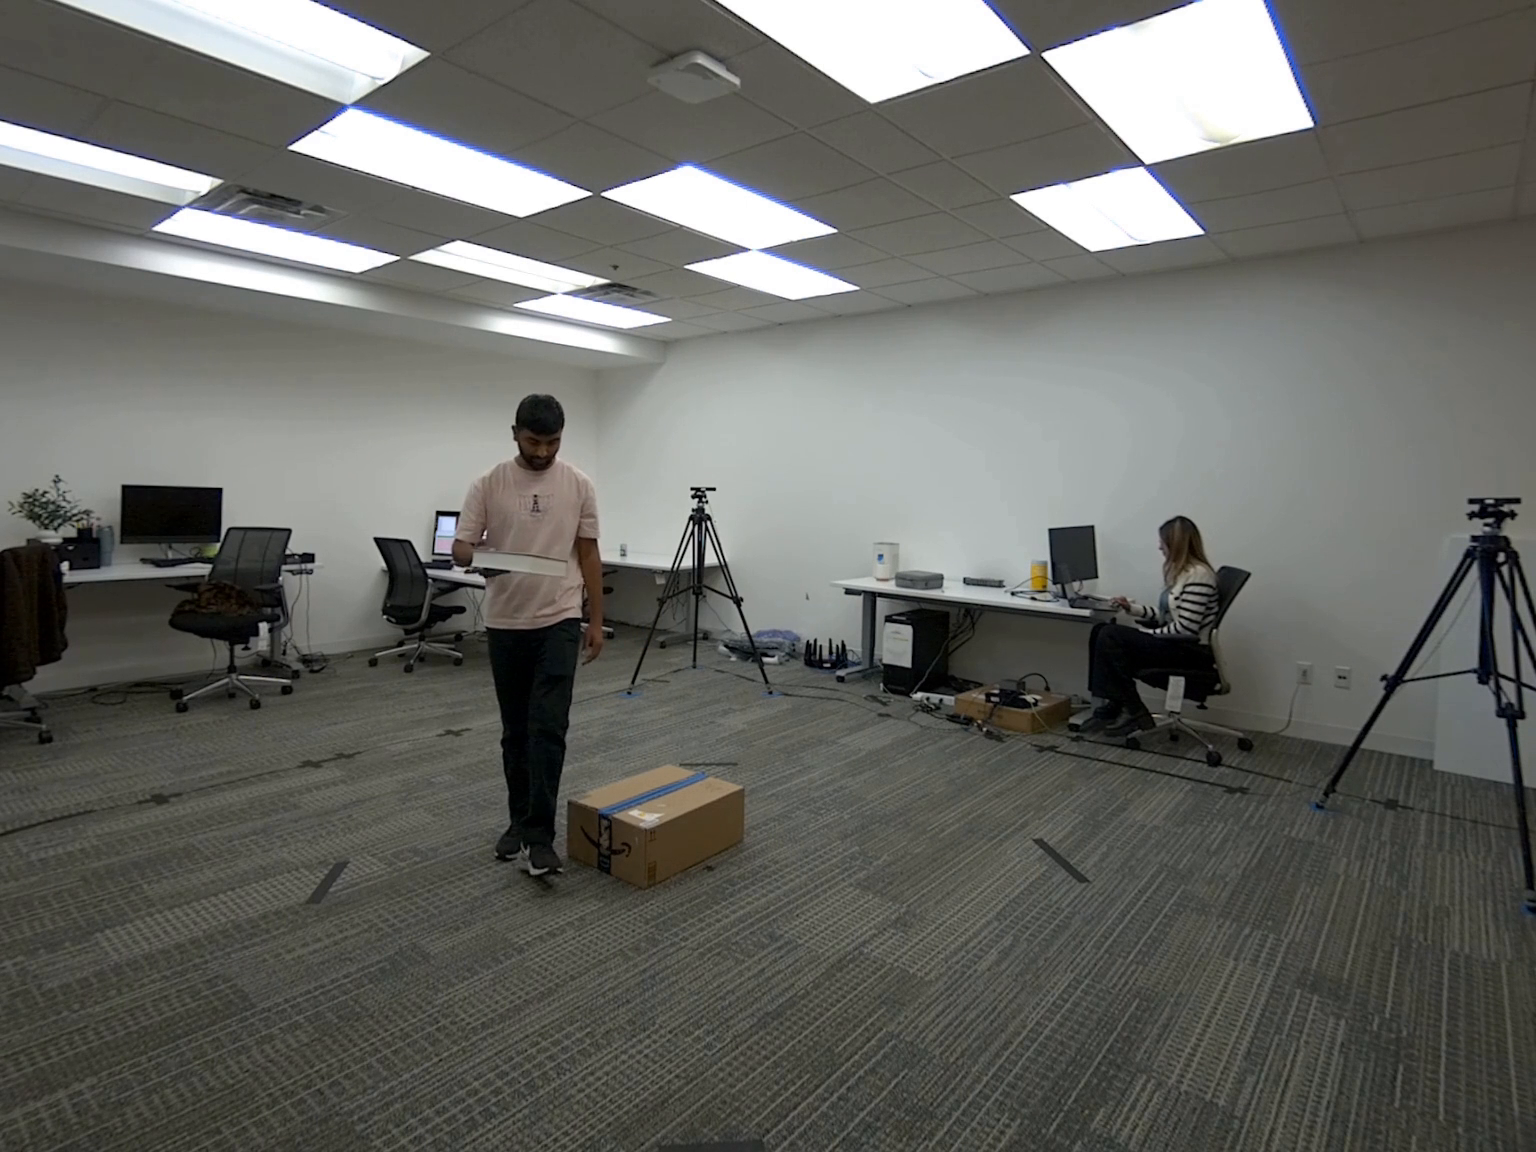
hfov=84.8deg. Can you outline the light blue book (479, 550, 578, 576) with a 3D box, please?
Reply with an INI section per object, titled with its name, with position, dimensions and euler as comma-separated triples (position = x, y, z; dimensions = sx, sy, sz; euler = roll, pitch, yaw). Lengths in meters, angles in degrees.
[light blue book]
position = -0.809, -0.042, 2.849
dimensions = 0.198, 0.059, 0.252
euler = 8, 2, 42
